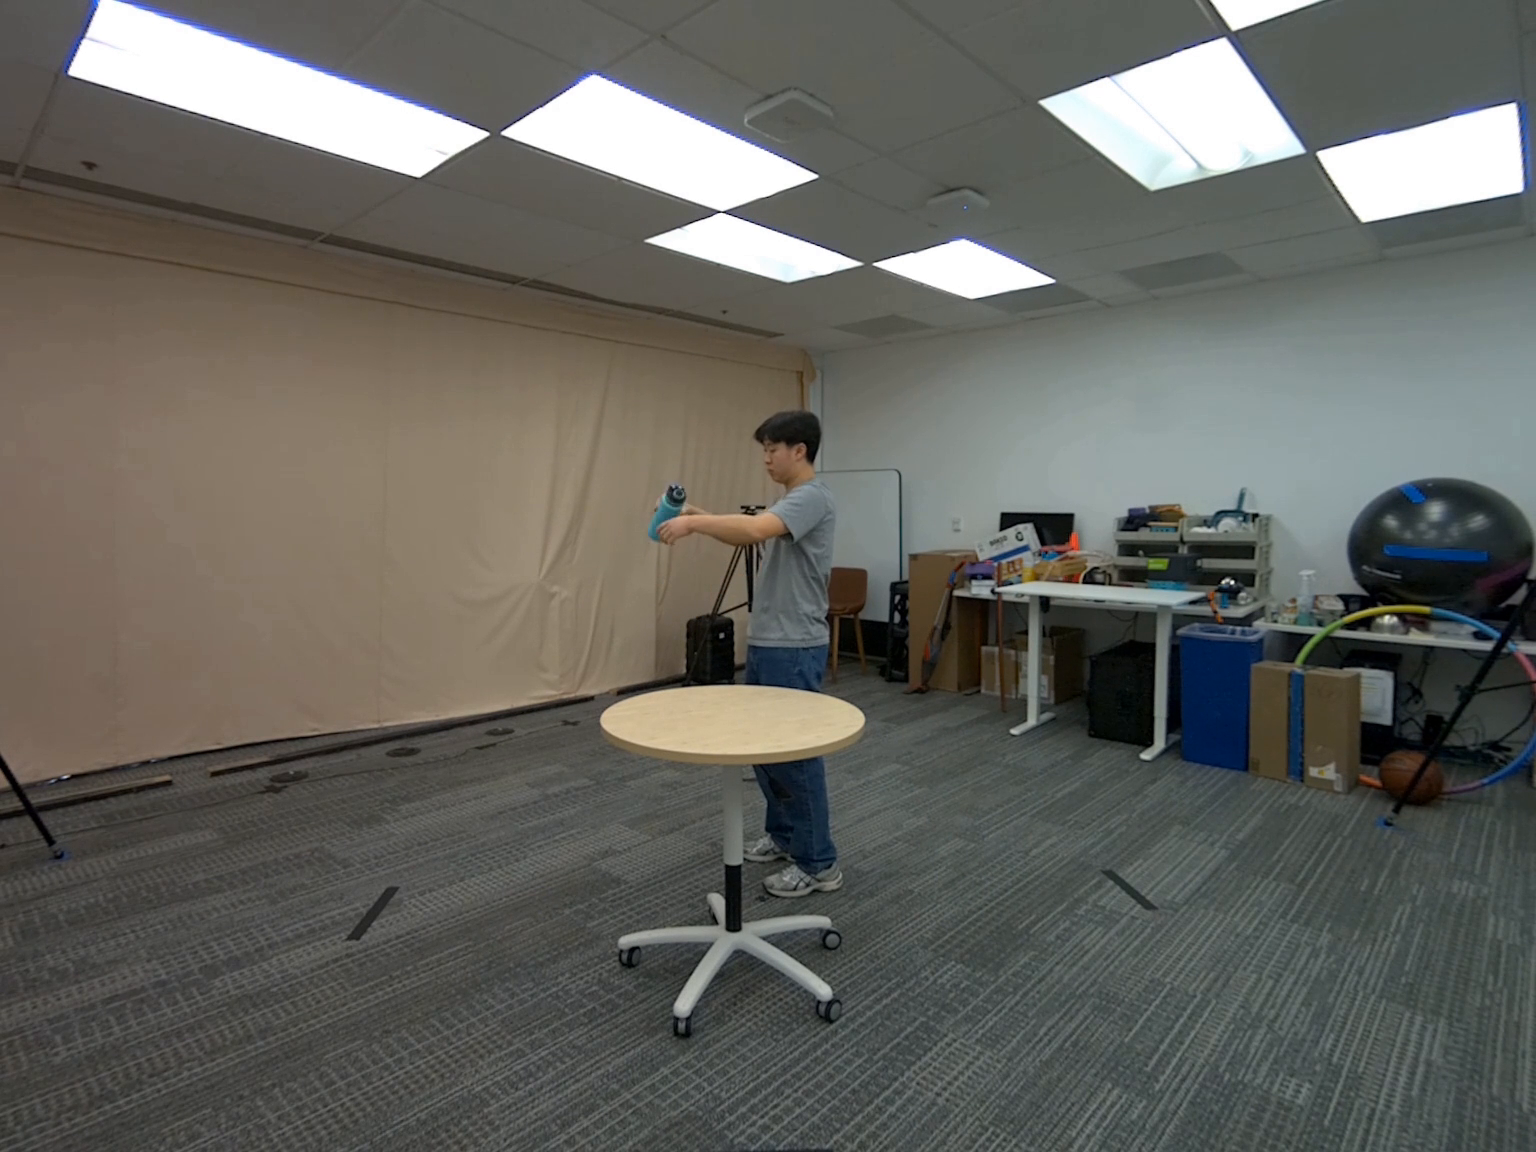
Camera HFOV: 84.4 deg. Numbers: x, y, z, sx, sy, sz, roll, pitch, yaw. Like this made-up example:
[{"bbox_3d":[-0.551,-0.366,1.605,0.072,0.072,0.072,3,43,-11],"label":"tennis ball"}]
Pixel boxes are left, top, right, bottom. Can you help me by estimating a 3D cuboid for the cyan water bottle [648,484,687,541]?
[{"bbox_3d":[-0.382,-0.225,3.312,0.090,0.095,0.283,-1,-36,-28],"label":"cyan water bottle"}]
